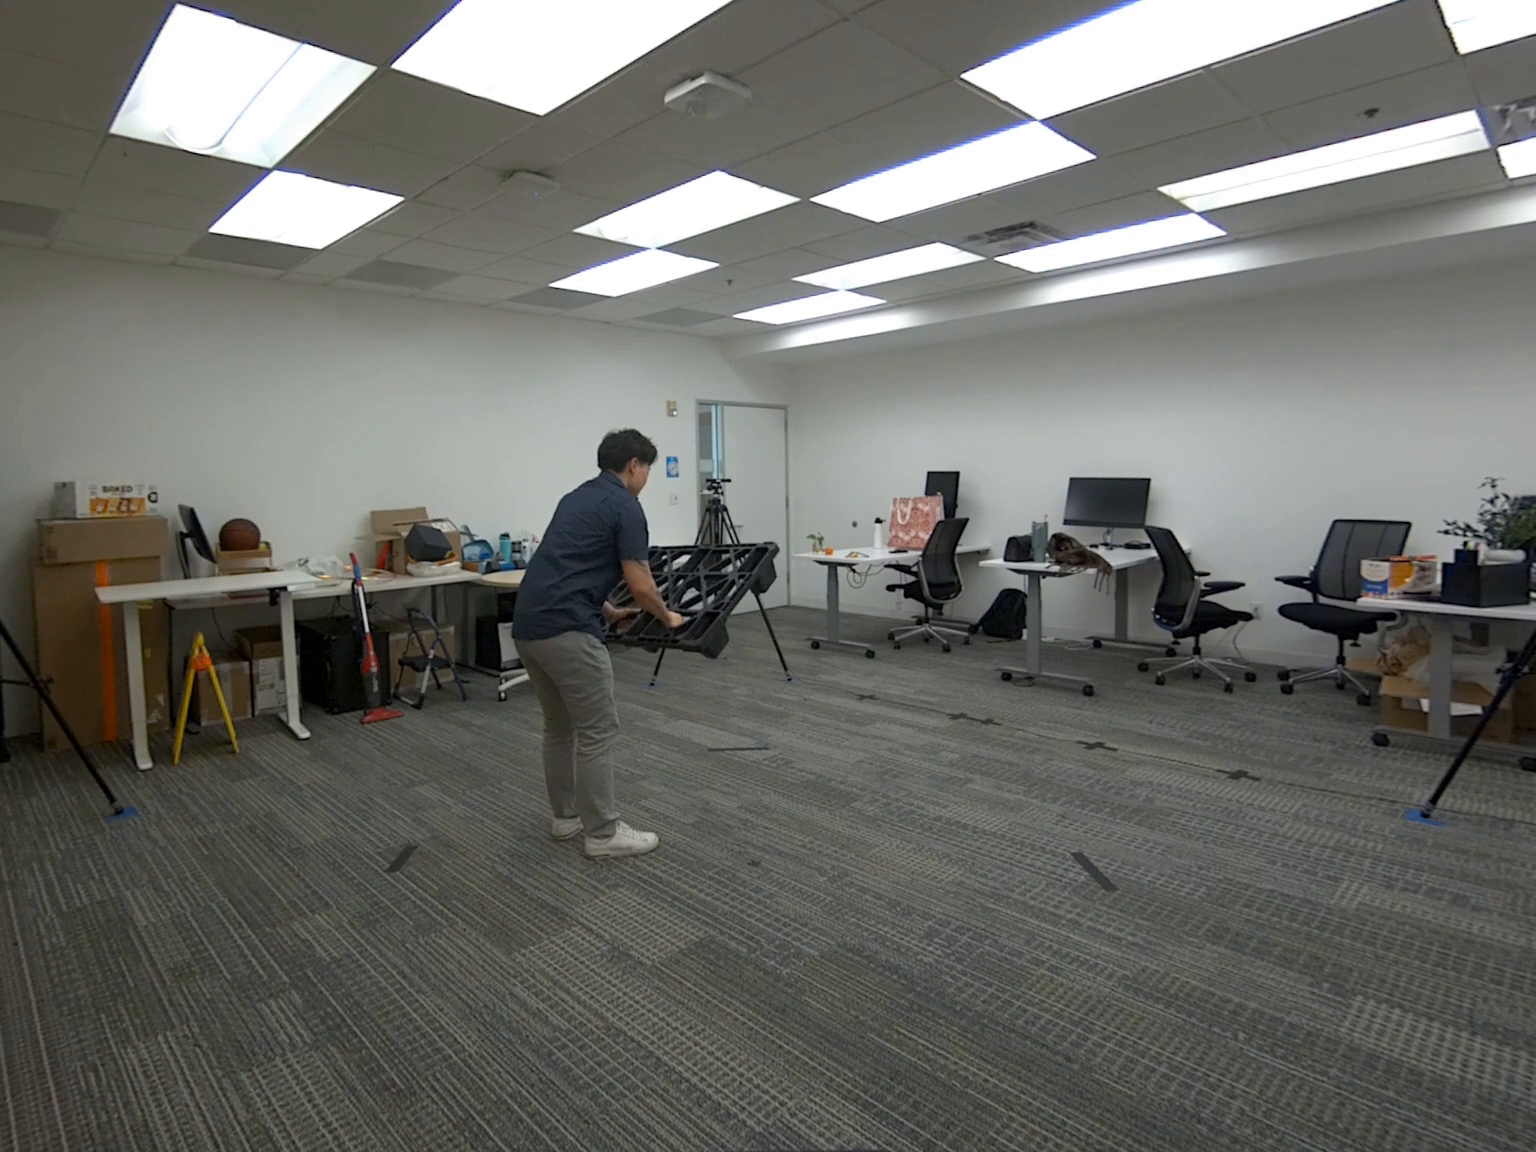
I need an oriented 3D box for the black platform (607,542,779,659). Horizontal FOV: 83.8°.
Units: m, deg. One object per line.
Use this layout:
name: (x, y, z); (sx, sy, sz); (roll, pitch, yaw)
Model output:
black platform: (-0.377, 0.106, 3.566); (0.829, 0.139, 0.606); (0, 40, 43)
